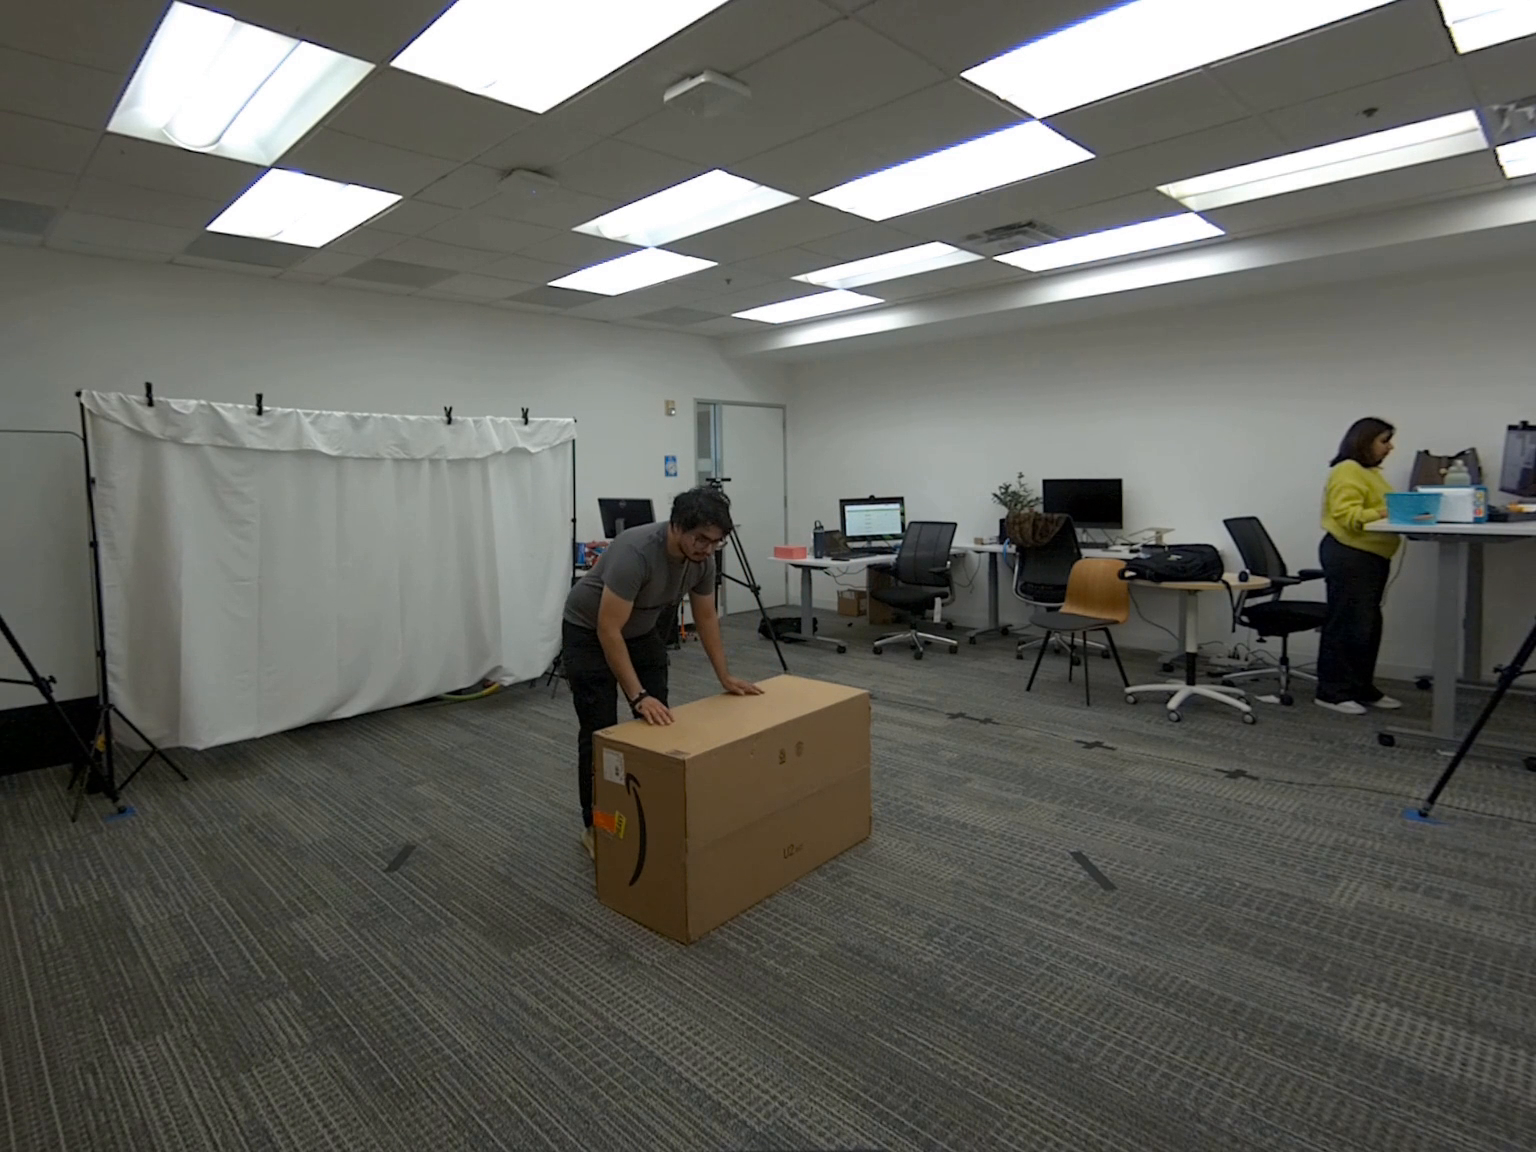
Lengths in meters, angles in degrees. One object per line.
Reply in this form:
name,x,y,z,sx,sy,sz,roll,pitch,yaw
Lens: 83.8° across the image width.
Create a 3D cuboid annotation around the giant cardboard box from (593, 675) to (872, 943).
giant cardboard box,-0.091,0.755,3.060,0.439,0.575,1.000,2,7,40
